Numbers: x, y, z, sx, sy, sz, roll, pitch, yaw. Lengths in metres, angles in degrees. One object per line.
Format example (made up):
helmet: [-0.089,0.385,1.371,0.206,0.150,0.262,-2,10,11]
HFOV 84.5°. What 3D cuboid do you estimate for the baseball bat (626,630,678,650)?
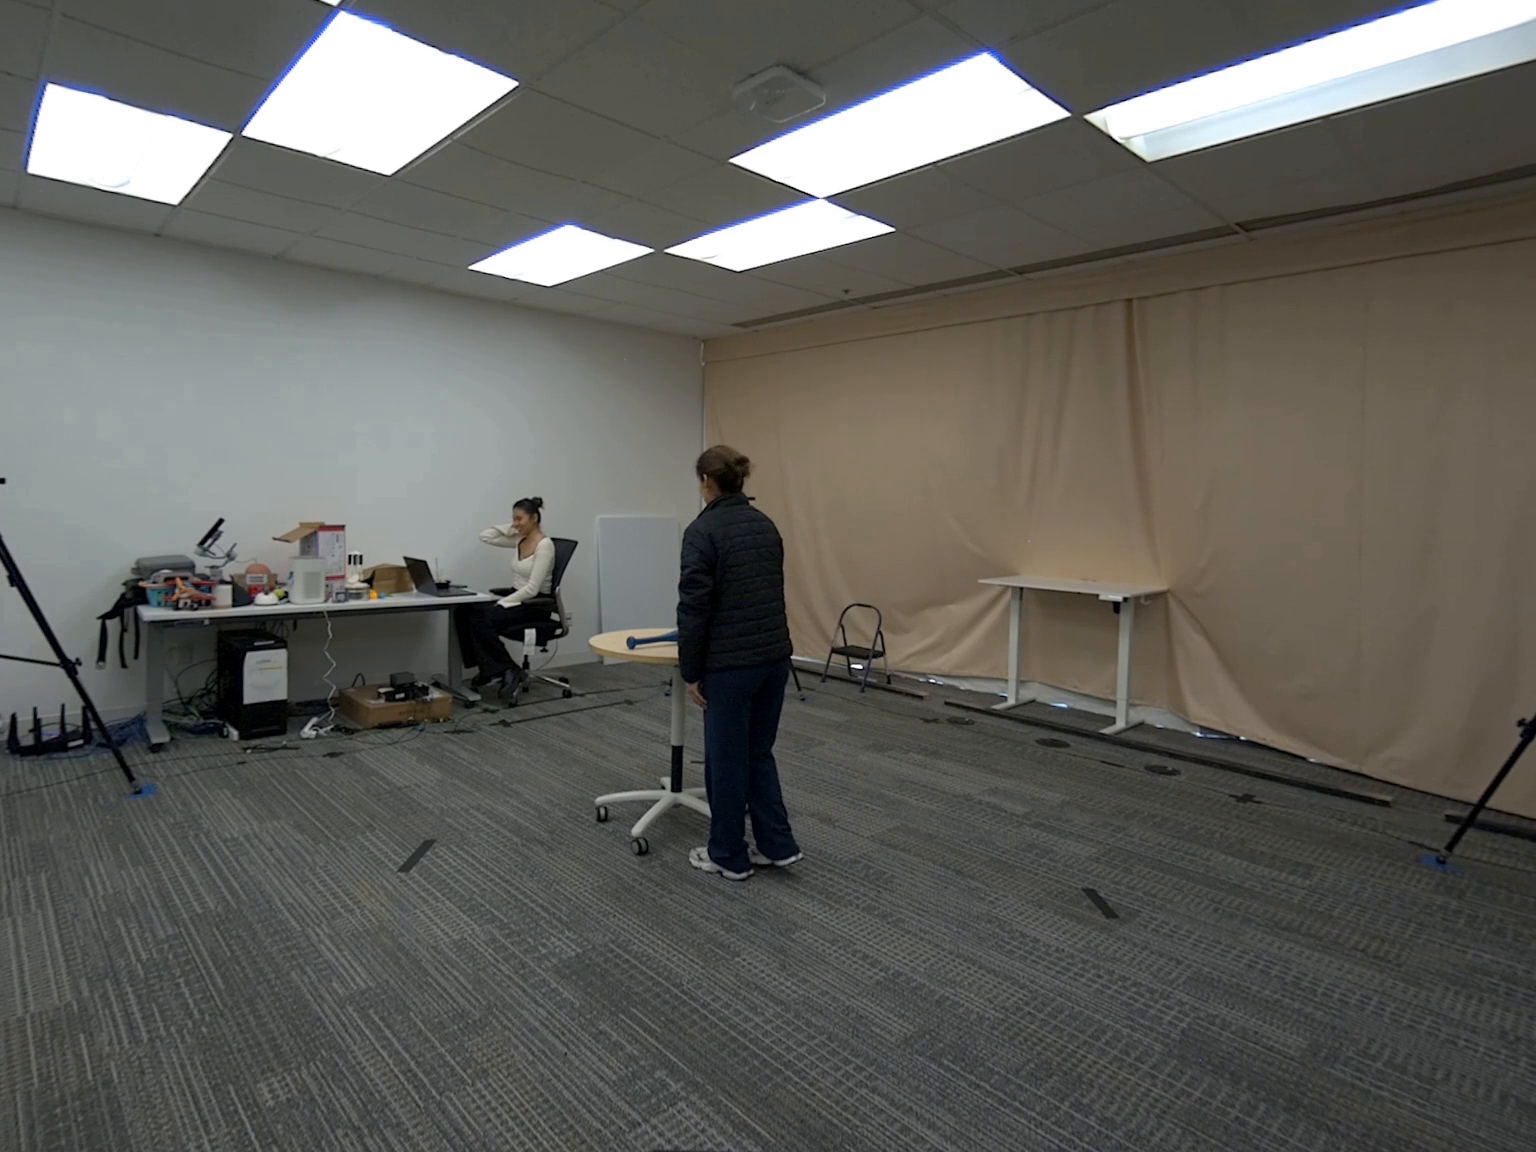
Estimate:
baseball bat: [-0.343,0.251,3.476,0.531,0.089,0.091,-6,8,-42]
